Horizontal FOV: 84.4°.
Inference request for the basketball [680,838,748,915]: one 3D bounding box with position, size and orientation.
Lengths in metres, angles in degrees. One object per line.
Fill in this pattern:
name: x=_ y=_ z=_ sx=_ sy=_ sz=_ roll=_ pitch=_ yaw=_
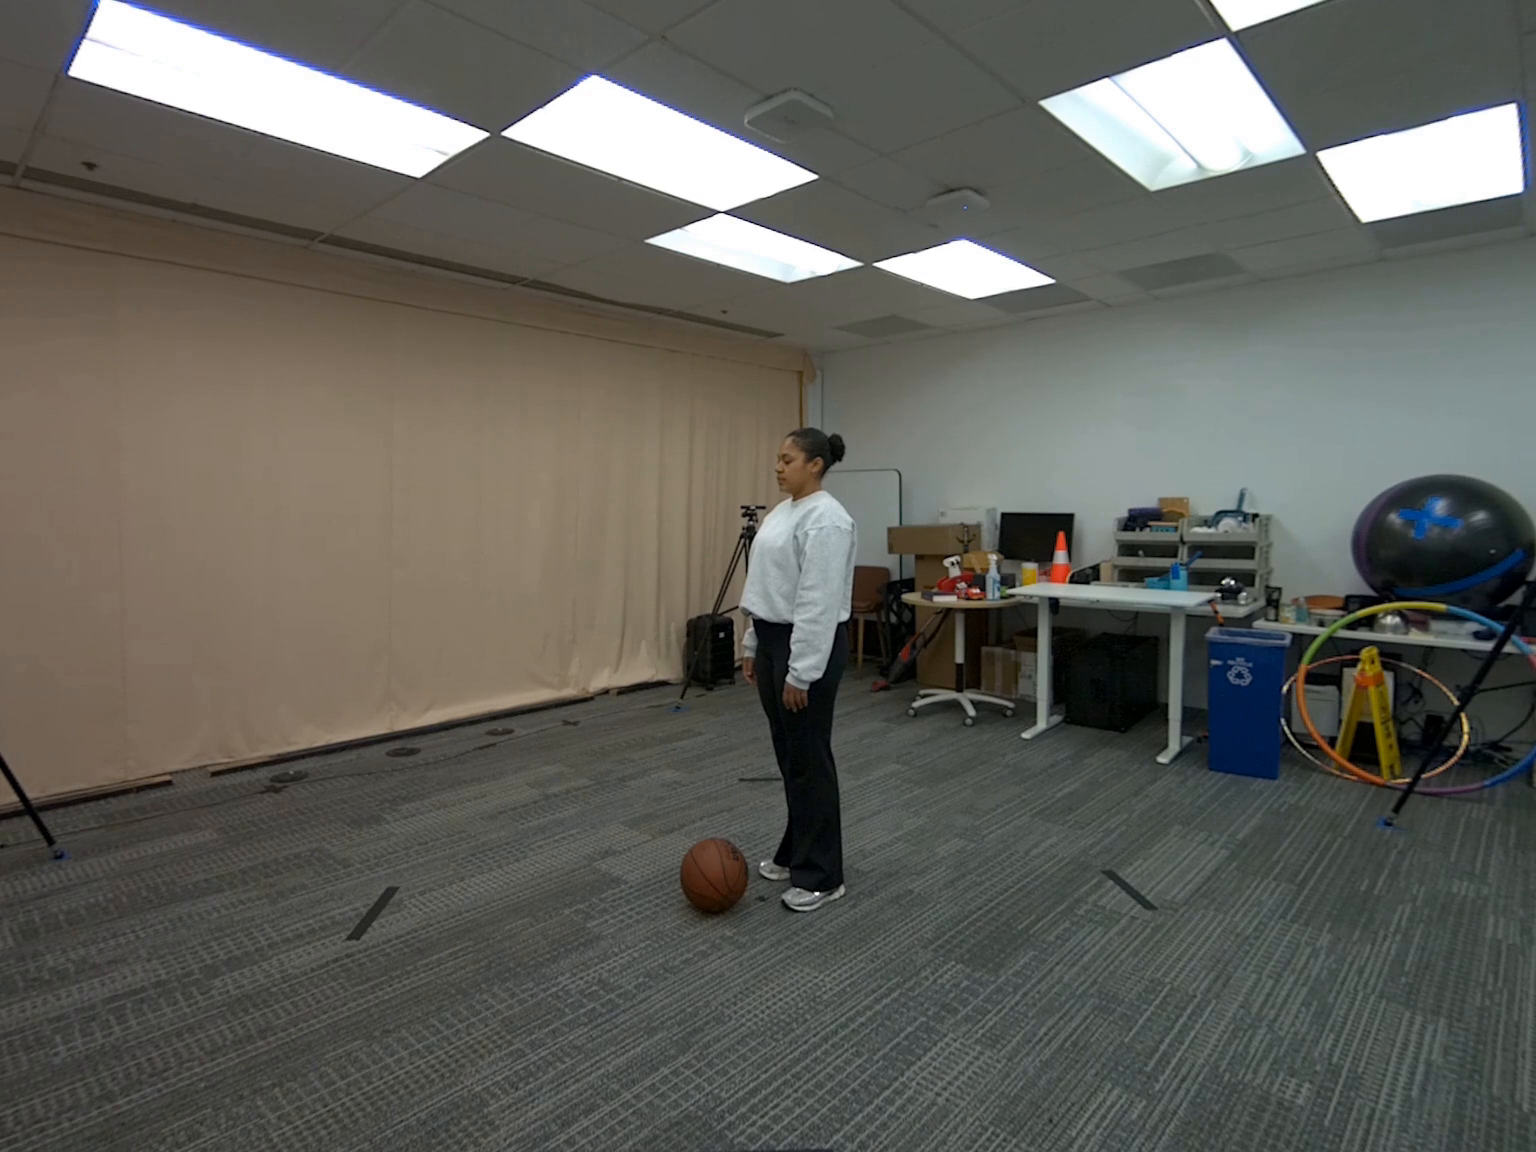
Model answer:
basketball: x=-0.181 y=1.031 z=2.909 sx=0.236 sy=0.235 sz=0.237 roll=0 pitch=4 yaw=-2
